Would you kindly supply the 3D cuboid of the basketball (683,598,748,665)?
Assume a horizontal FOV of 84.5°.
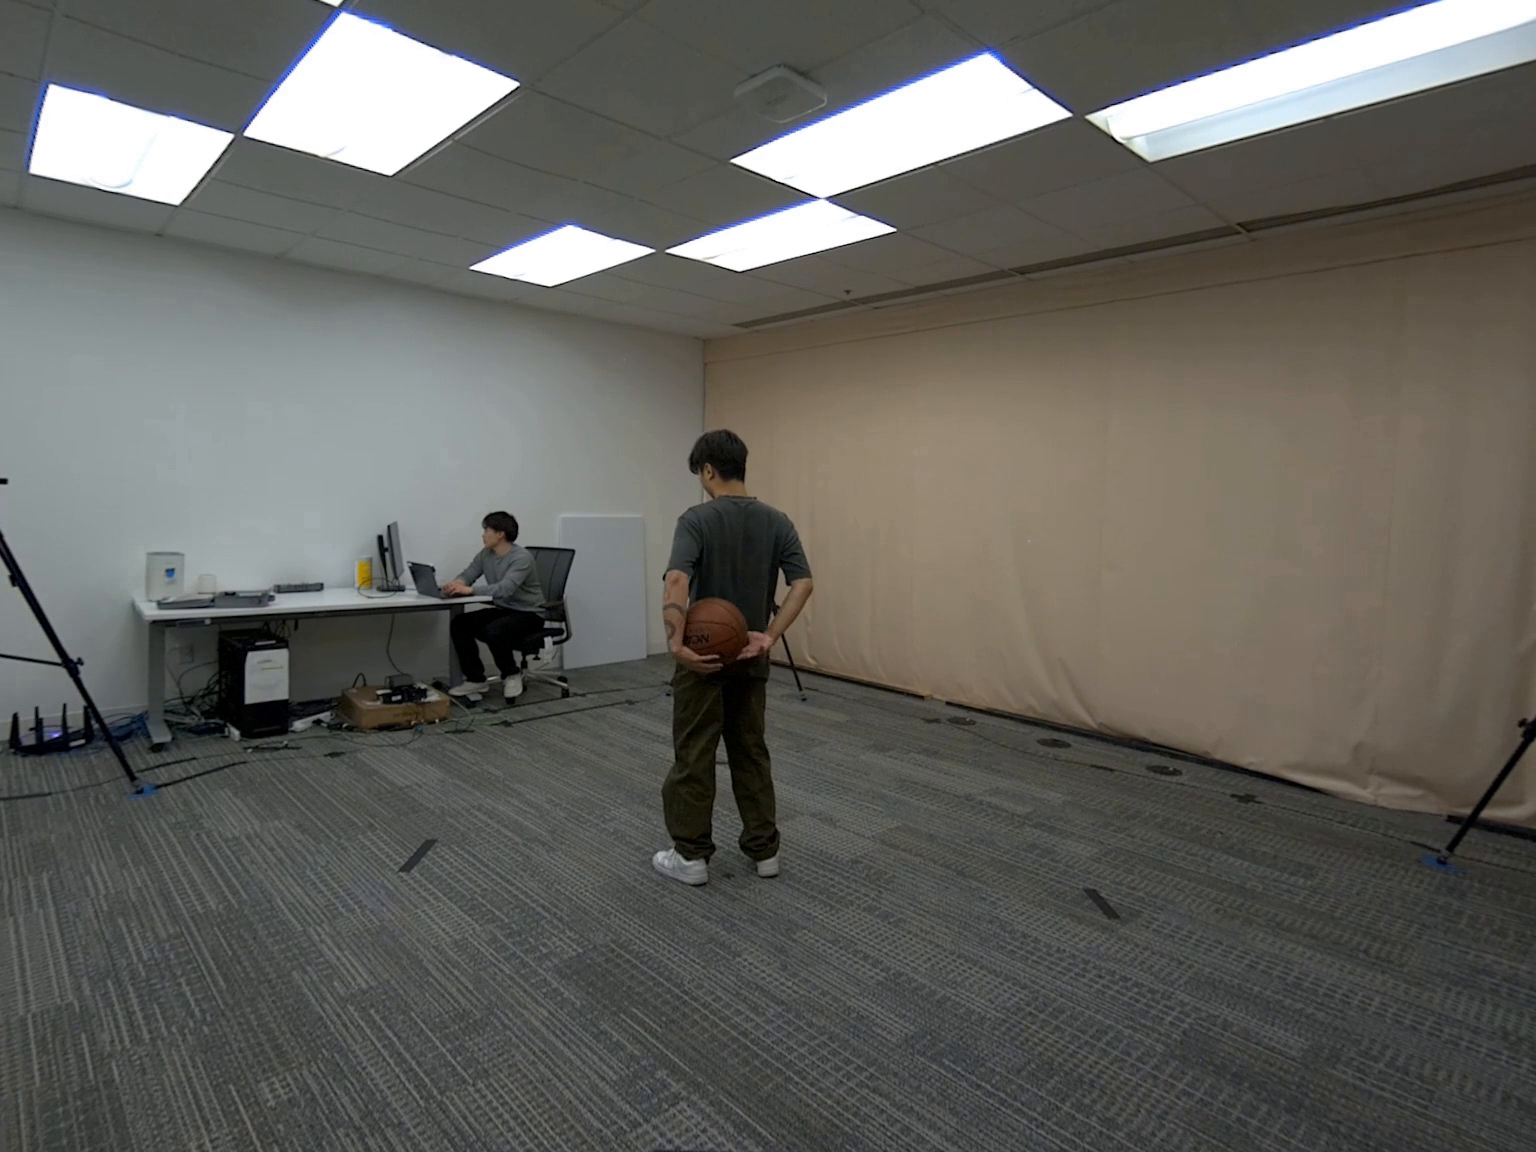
[{"bbox_3d":[-0.199,0.193,2.898,0.236,0.235,0.237,1,4,-1],"label":"basketball"}]
